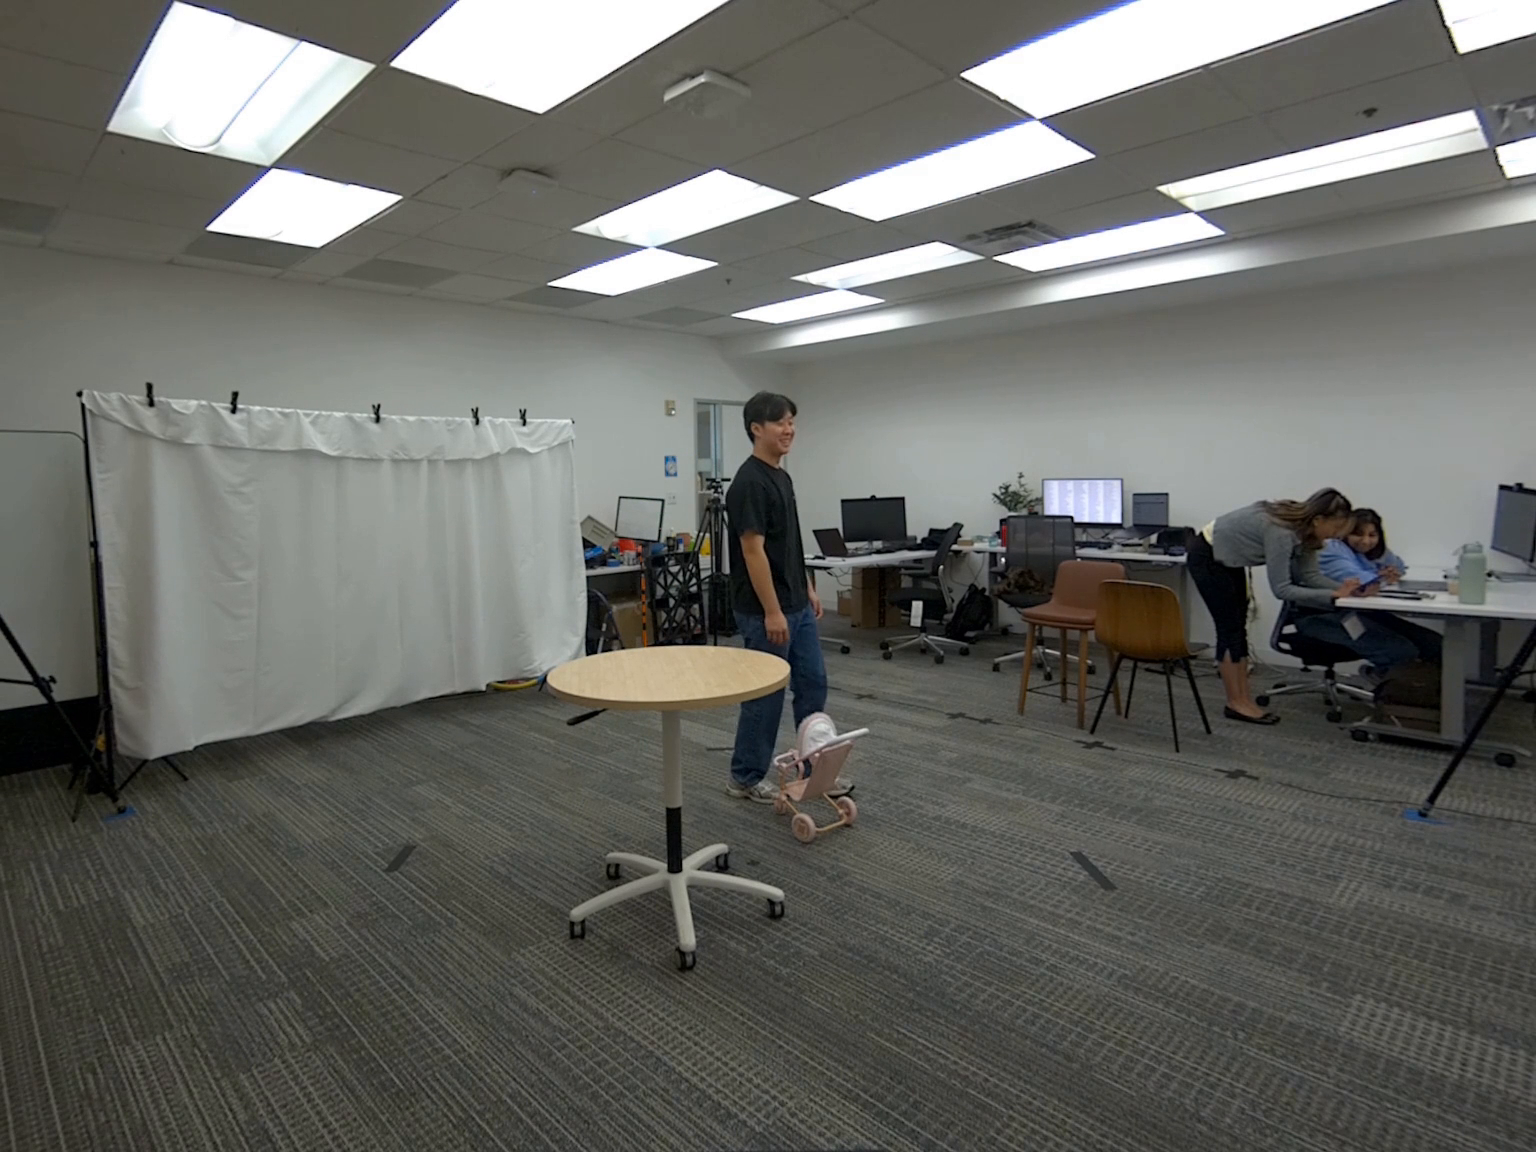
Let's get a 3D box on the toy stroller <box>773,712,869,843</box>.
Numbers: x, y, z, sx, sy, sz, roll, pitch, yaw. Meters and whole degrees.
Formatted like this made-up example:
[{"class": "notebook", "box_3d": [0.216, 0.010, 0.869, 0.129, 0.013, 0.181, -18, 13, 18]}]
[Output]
[{"class": "toy stroller", "box_3d": [0.187, 0.784, 3.399, 0.274, 0.528, 0.354, -4, 21, -38]}]
